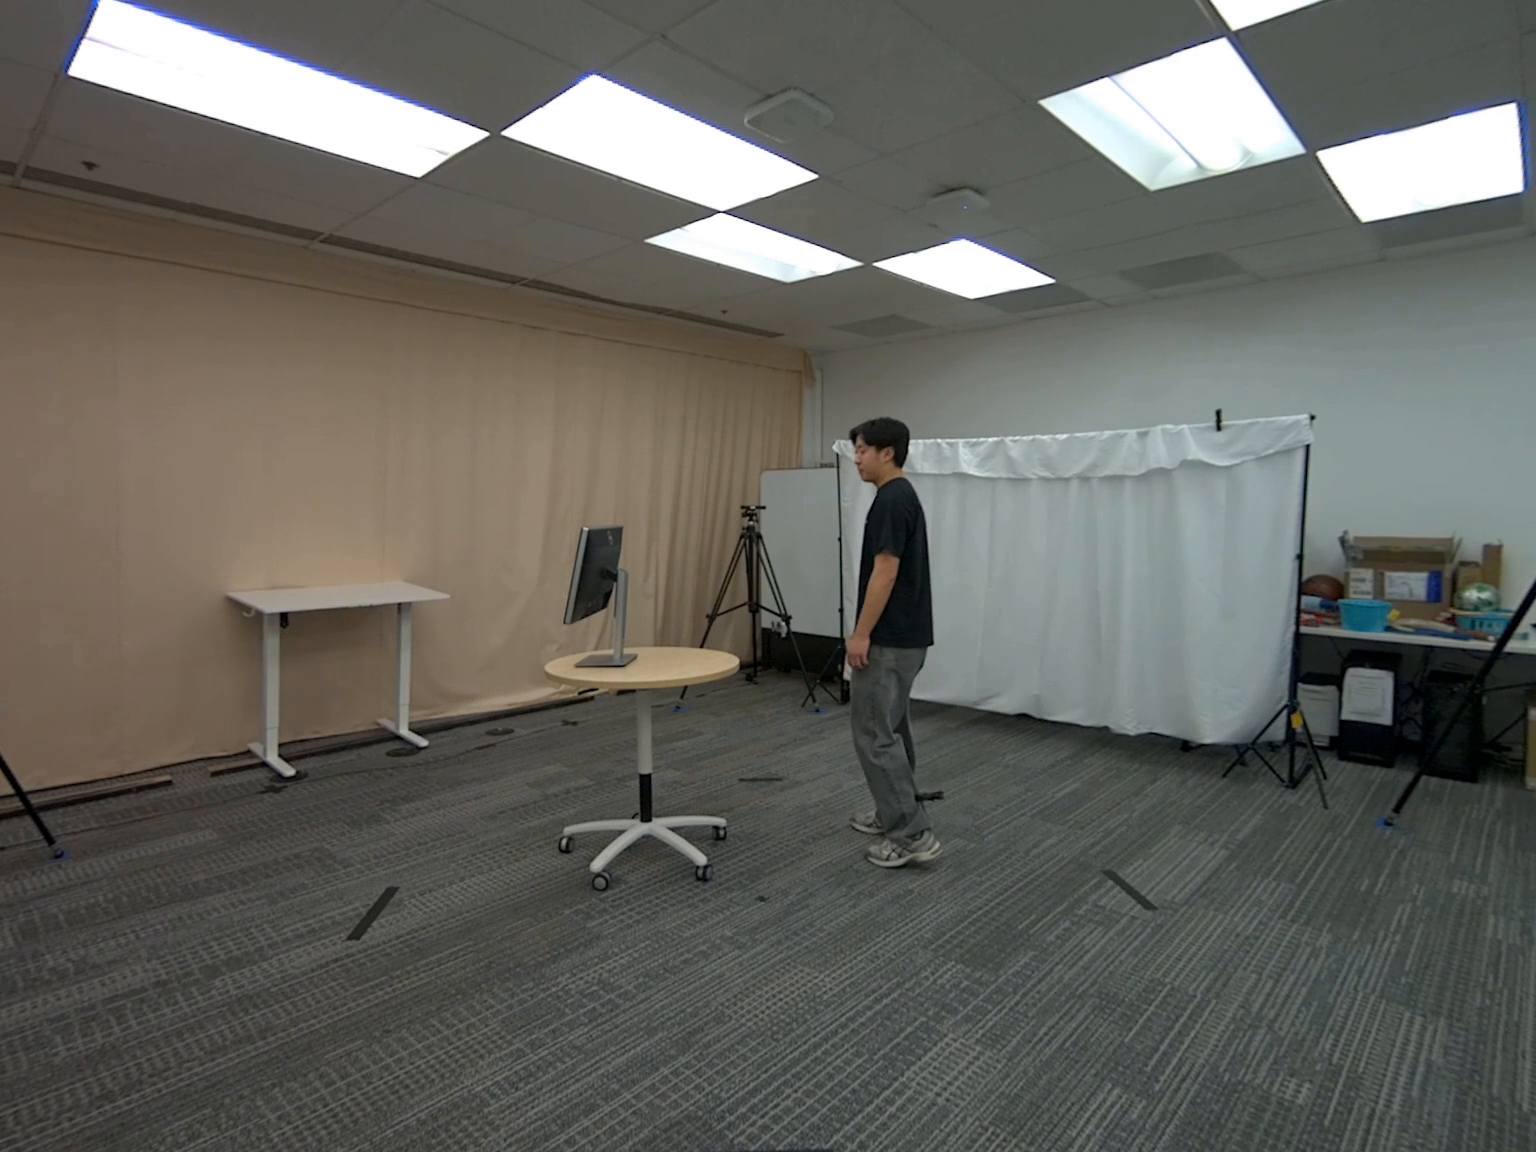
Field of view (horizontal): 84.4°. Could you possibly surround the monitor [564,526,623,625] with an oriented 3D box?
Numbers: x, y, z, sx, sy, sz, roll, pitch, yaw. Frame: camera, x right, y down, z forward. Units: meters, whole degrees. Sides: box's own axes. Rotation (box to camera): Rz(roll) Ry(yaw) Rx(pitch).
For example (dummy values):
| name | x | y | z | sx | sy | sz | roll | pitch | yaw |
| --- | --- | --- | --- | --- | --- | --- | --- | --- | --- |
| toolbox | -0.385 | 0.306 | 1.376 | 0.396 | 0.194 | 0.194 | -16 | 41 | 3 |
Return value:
| name | x | y | z | sx | sy | sz | roll | pitch | yaw |
| --- | --- | --- | --- | --- | --- | --- | --- | --- | --- |
| monitor | -0.656 | 0.085 | 3.346 | 0.224 | 0.565 | 0.558 | -3 | 3 | 7 |
